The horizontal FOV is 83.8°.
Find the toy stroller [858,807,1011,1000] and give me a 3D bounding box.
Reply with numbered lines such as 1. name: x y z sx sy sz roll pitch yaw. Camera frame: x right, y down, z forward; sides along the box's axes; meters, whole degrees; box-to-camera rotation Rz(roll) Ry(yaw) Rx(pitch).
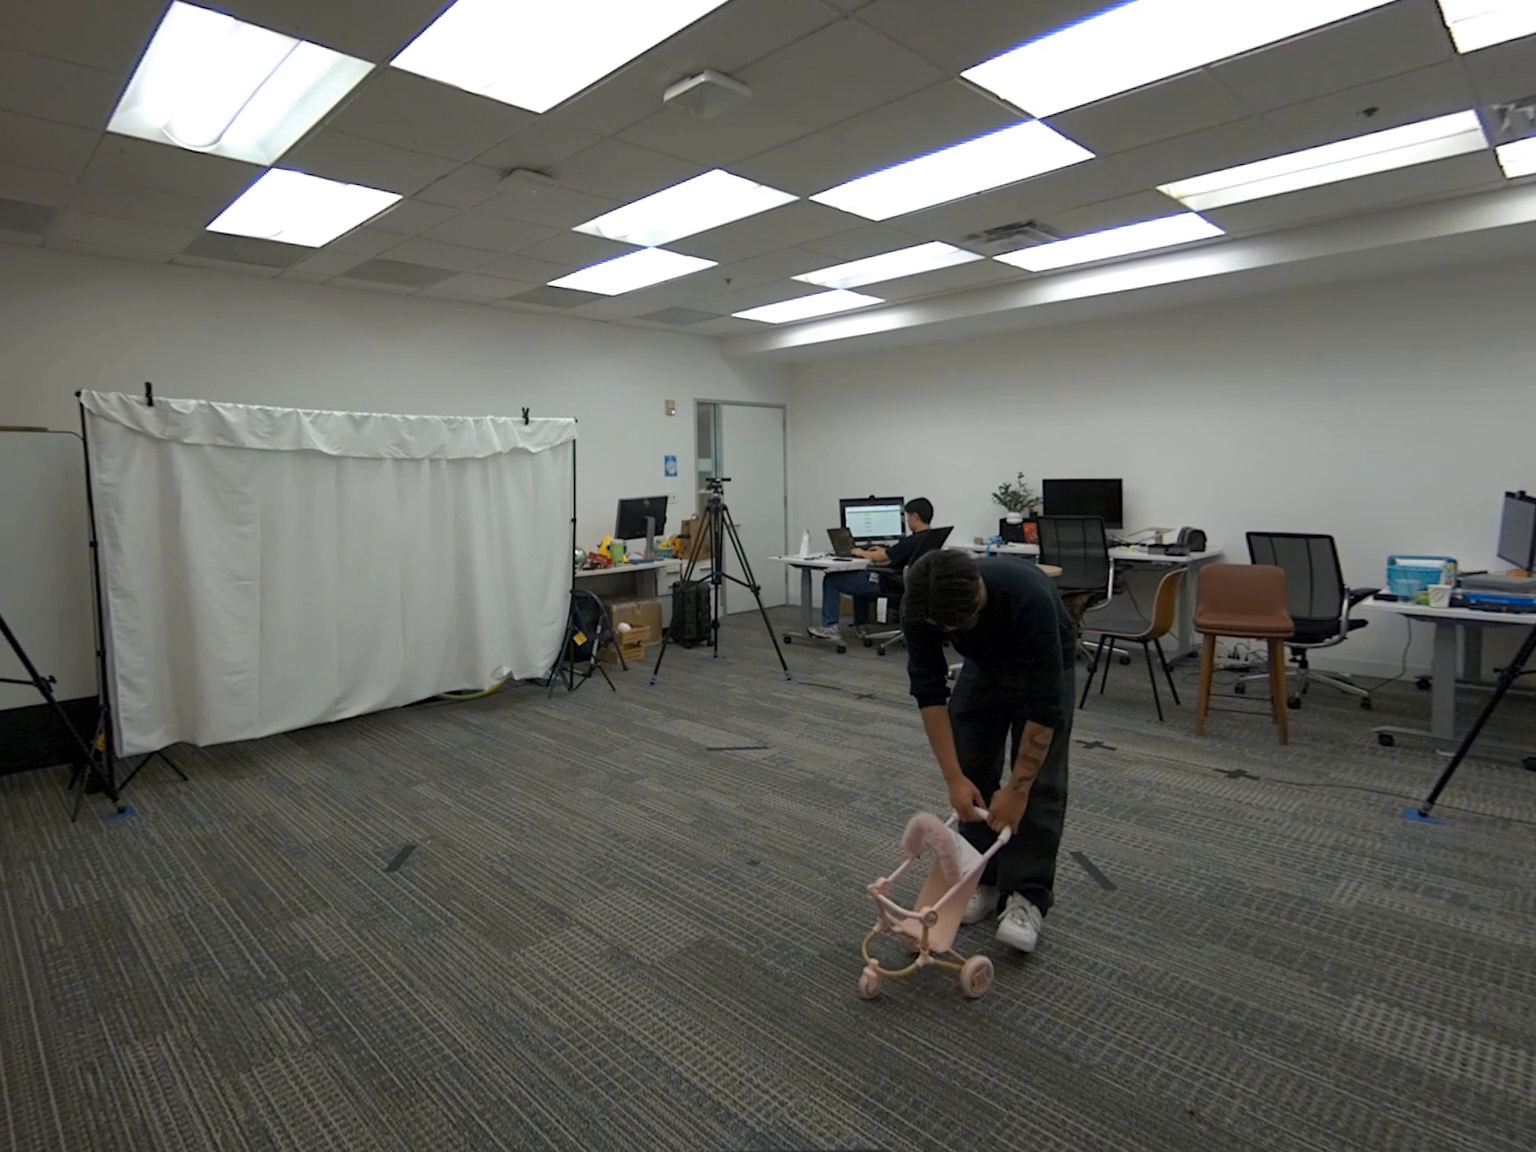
1. toy stroller: 0.448 0.896 2.359 0.333 0.536 0.288 15 -3 -24
